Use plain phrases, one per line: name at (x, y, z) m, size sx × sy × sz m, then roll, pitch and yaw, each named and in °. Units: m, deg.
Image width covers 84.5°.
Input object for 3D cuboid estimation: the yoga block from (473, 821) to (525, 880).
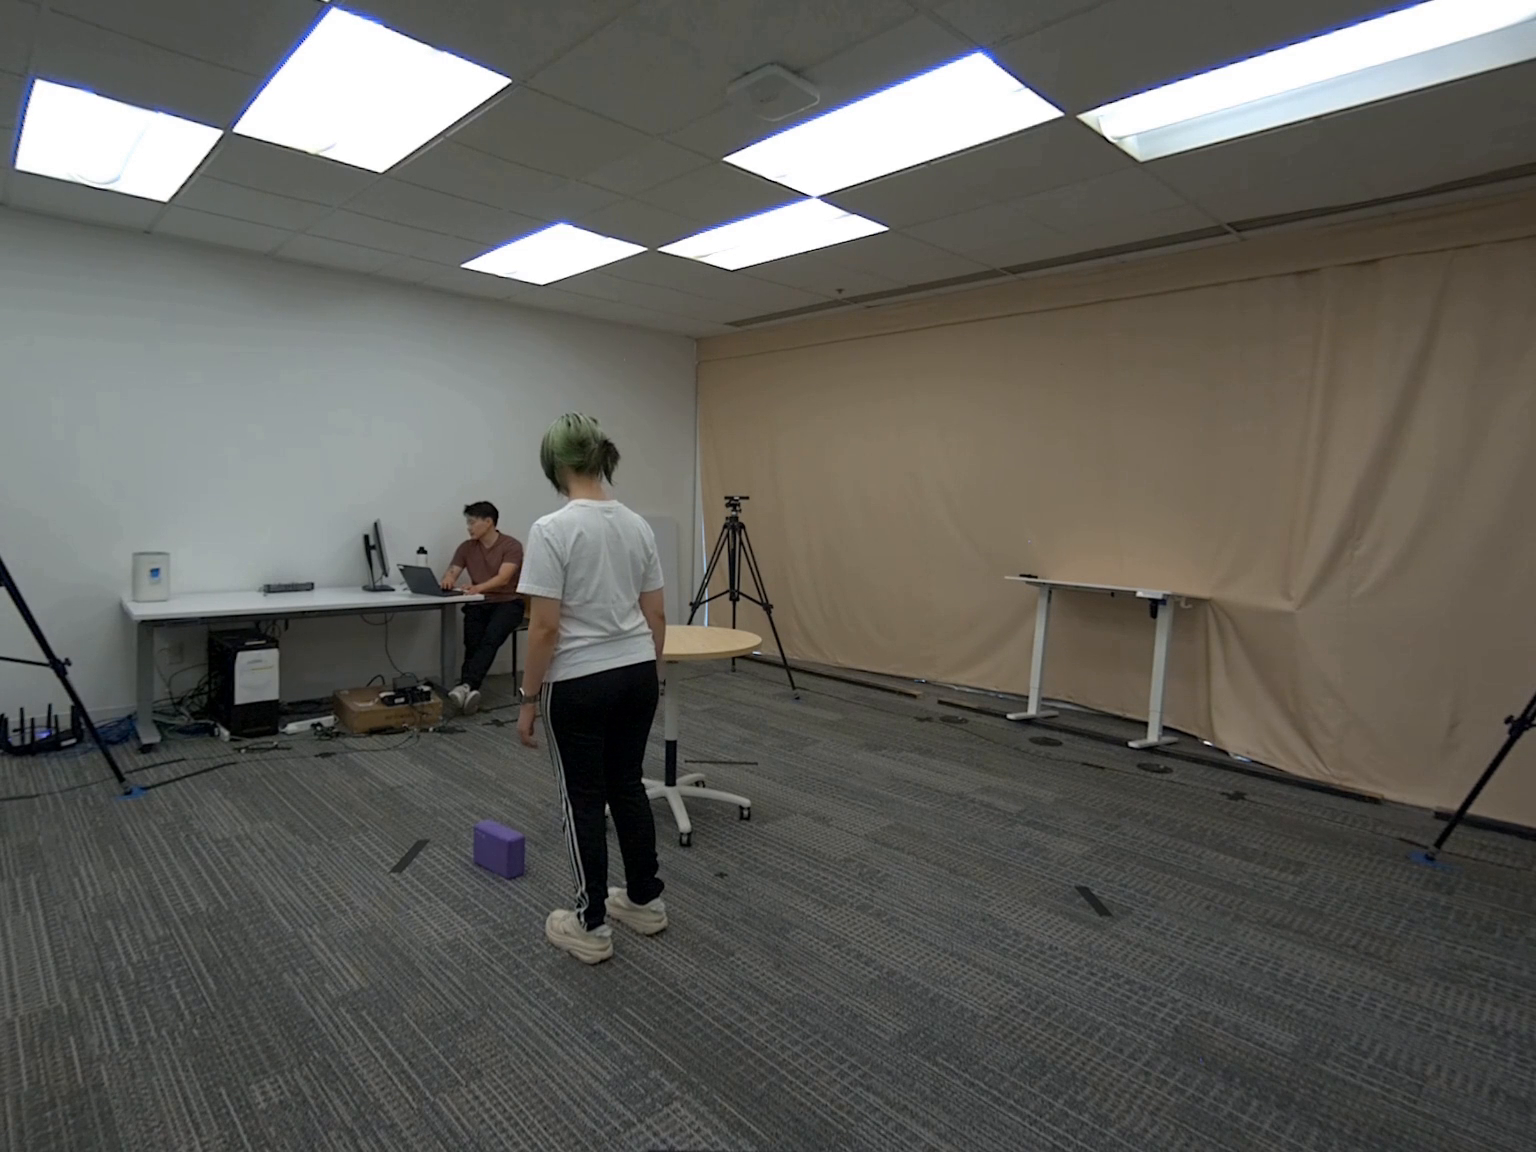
yoga block at (-1.006, 1.010, 3.110) m, size 0.235 × 0.149 × 0.075 m, roll 4°, pitch 4°, yaw 39°
